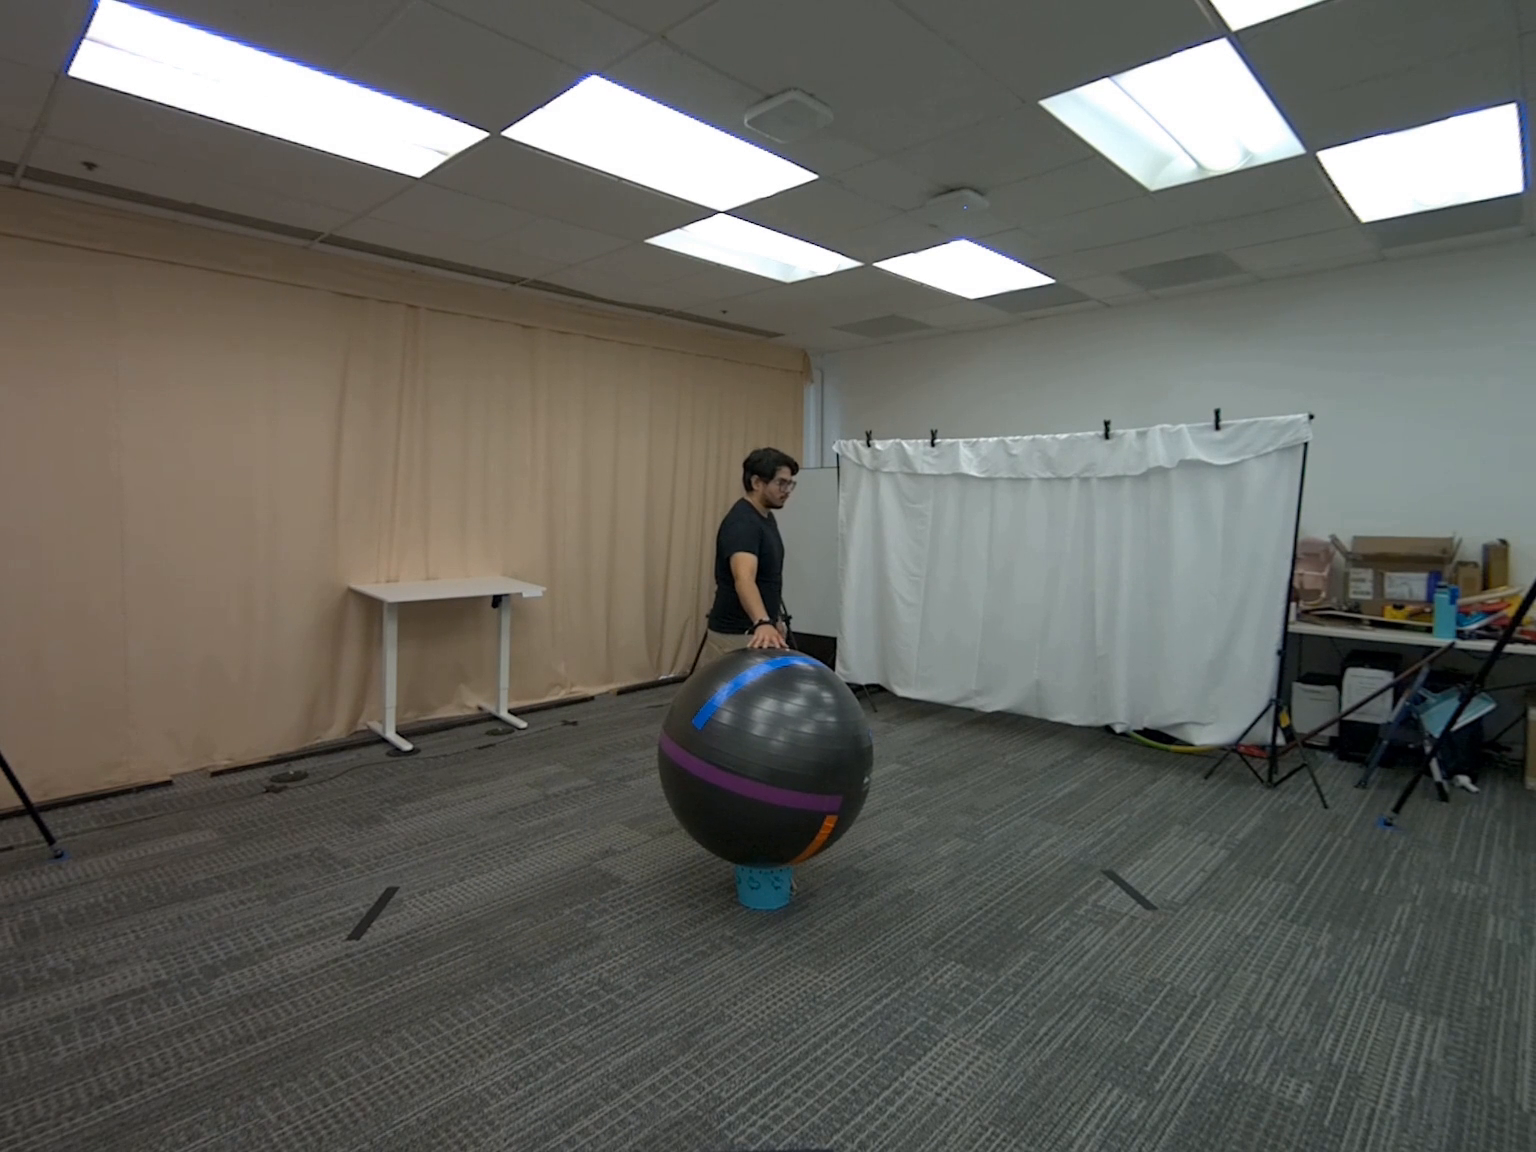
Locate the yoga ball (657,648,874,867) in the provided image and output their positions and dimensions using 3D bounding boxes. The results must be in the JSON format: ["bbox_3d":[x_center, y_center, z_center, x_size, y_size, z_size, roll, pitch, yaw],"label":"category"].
[{"bbox_3d":[-0.004,0.640,2.983,0.757,0.756,0.760,0,4,-2],"label":"yoga ball"}]
